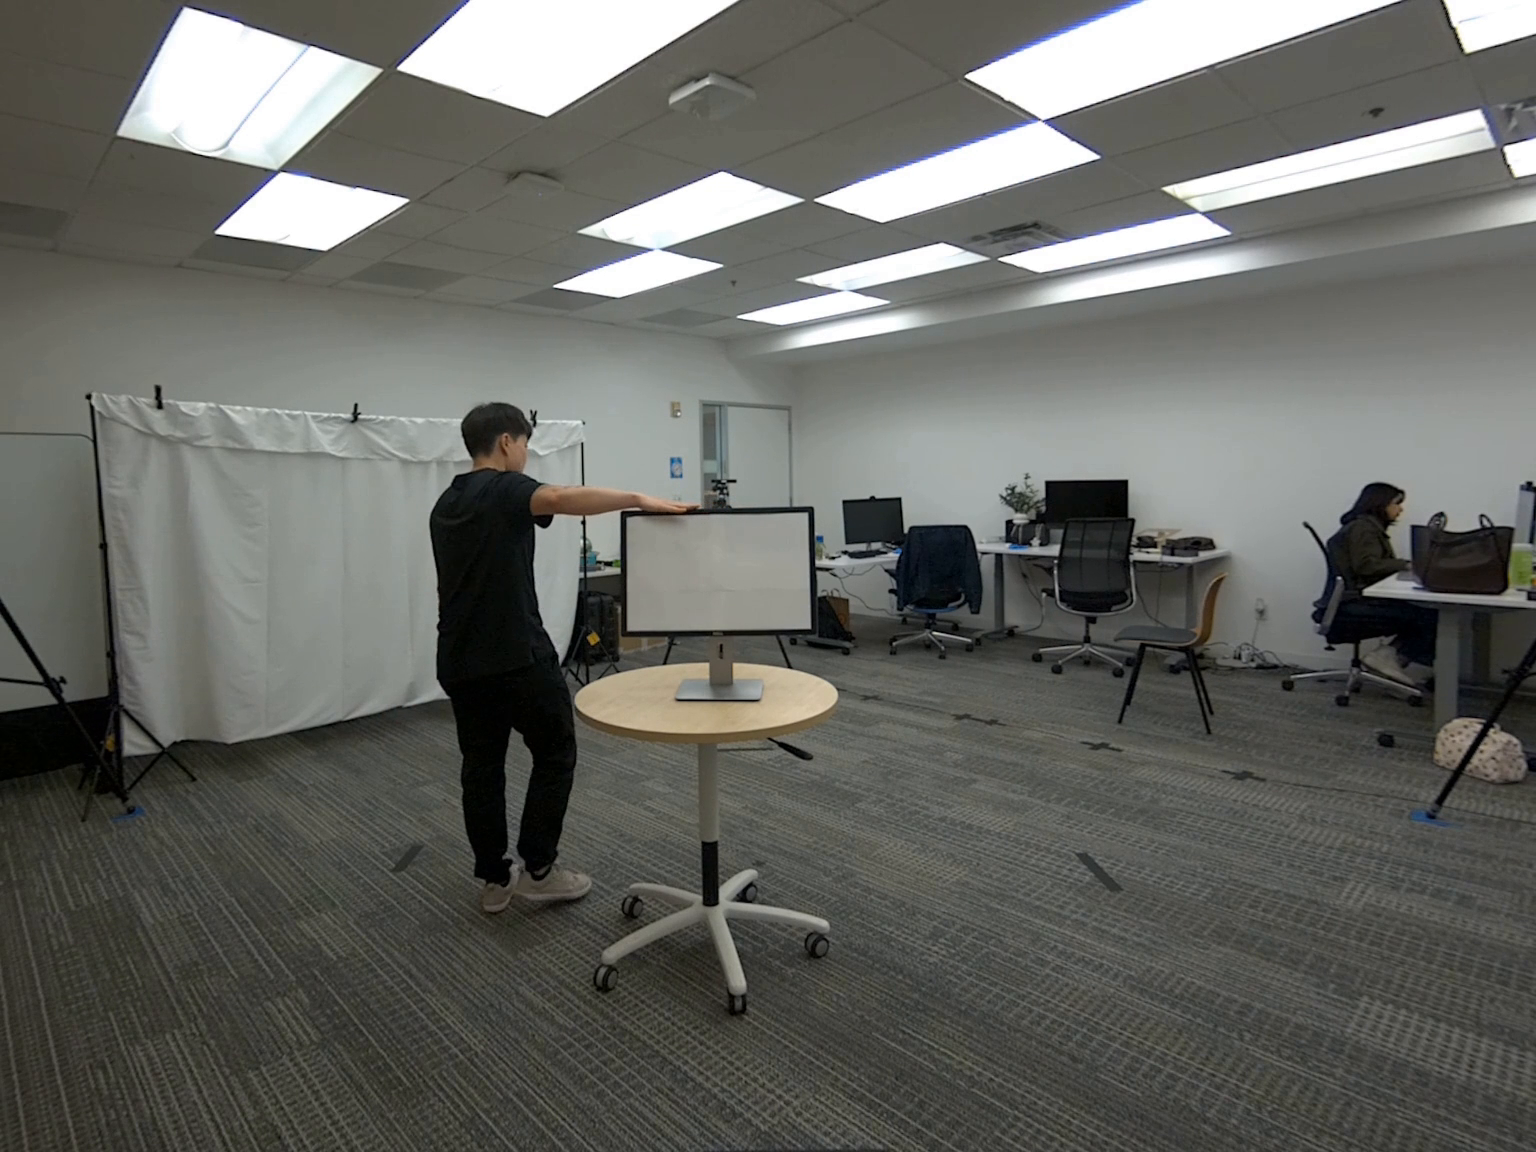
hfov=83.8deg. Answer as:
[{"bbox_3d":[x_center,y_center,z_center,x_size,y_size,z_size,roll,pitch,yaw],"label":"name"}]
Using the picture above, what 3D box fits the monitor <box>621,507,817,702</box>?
[{"bbox_3d":[-0.138,0.077,2.487,0.541,0.520,0.187,-1,6,3],"label":"monitor"}]
